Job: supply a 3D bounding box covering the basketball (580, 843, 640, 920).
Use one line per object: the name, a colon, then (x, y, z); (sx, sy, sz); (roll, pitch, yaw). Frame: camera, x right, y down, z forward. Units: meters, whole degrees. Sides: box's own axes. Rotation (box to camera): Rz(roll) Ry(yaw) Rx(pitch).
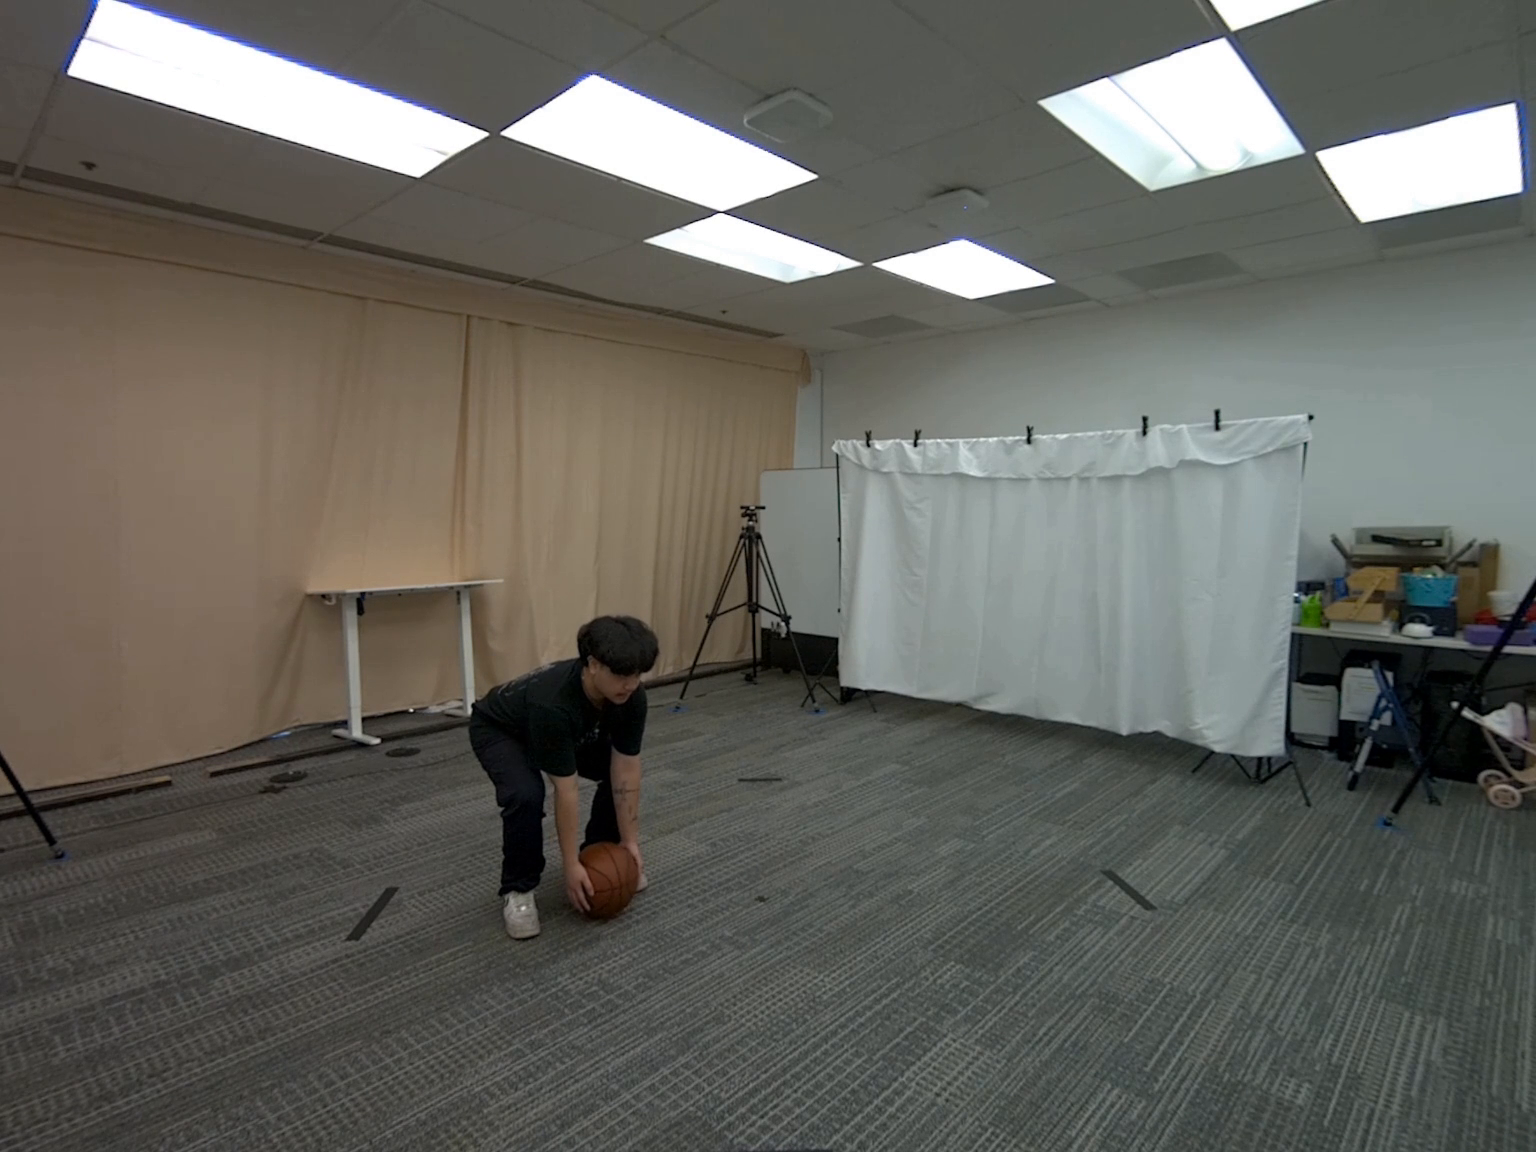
basketball: (-0.553, 1.024, 2.866); (0.236, 0.235, 0.237); (0, 4, -2)
